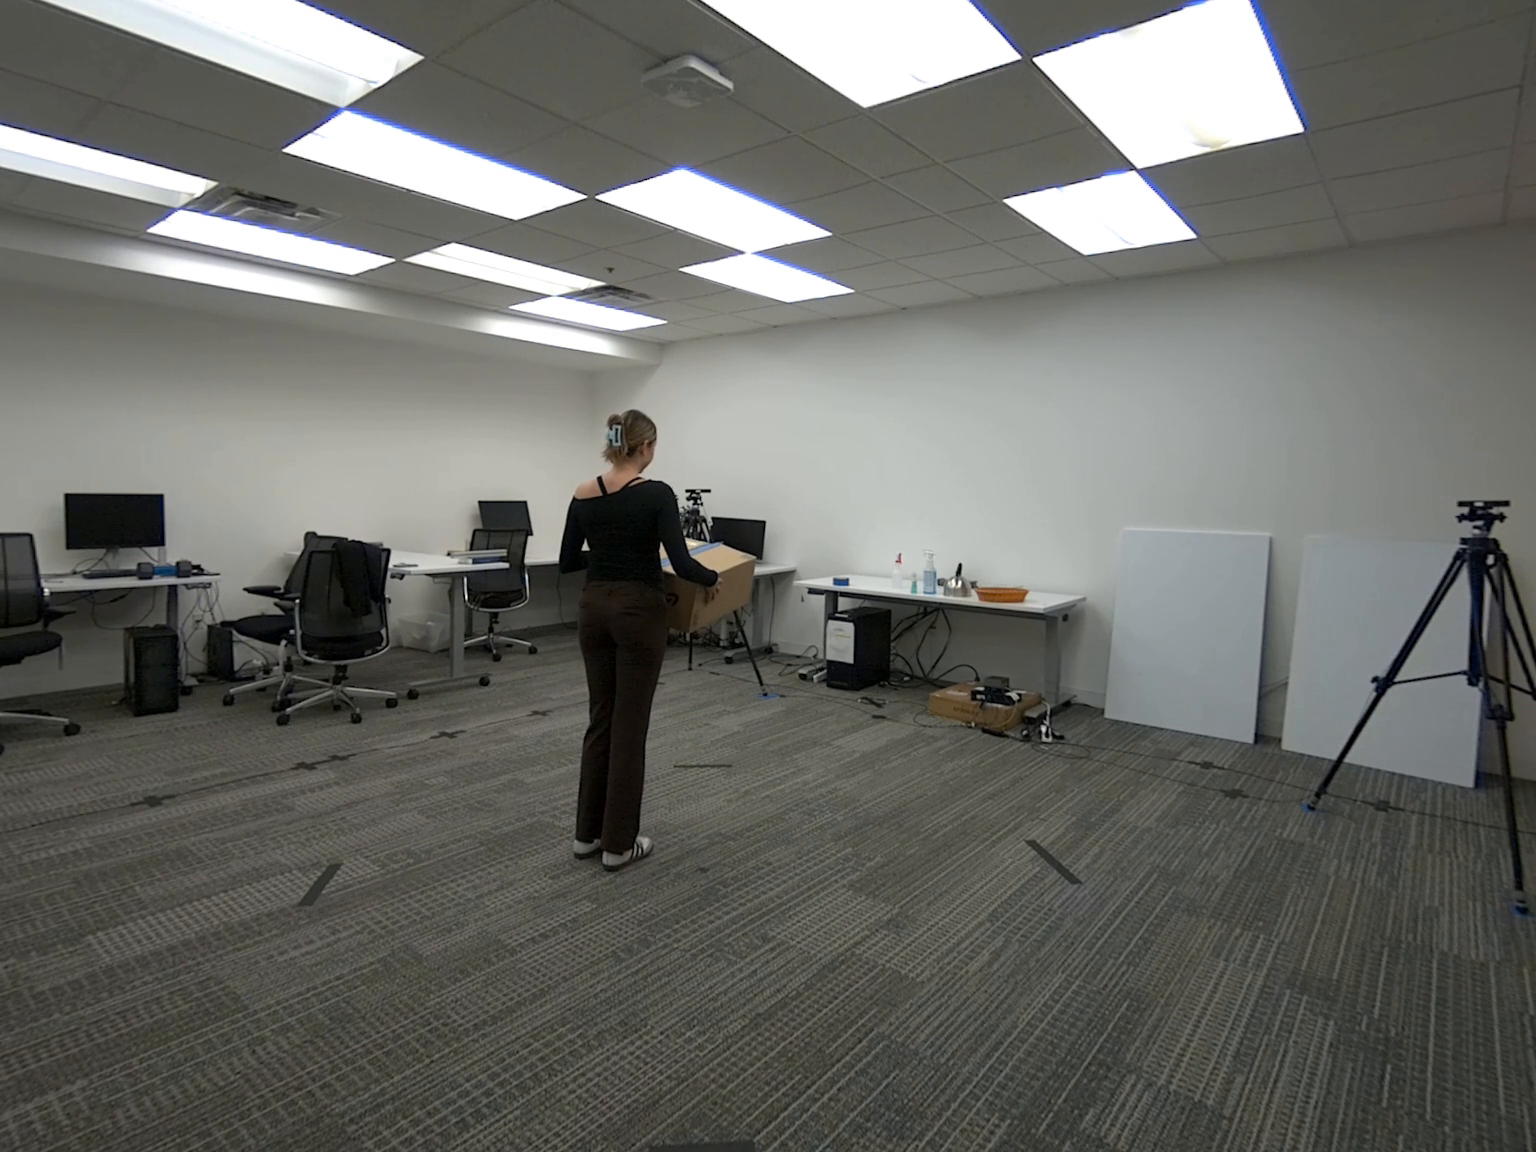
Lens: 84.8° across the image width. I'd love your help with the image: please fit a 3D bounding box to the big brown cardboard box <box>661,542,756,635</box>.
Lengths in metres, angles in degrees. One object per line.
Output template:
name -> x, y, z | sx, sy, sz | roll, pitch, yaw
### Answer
big brown cardboard box -> -0.367, 0.013, 3.570 | 0.429, 0.230, 0.580 | 15, 17, 21
